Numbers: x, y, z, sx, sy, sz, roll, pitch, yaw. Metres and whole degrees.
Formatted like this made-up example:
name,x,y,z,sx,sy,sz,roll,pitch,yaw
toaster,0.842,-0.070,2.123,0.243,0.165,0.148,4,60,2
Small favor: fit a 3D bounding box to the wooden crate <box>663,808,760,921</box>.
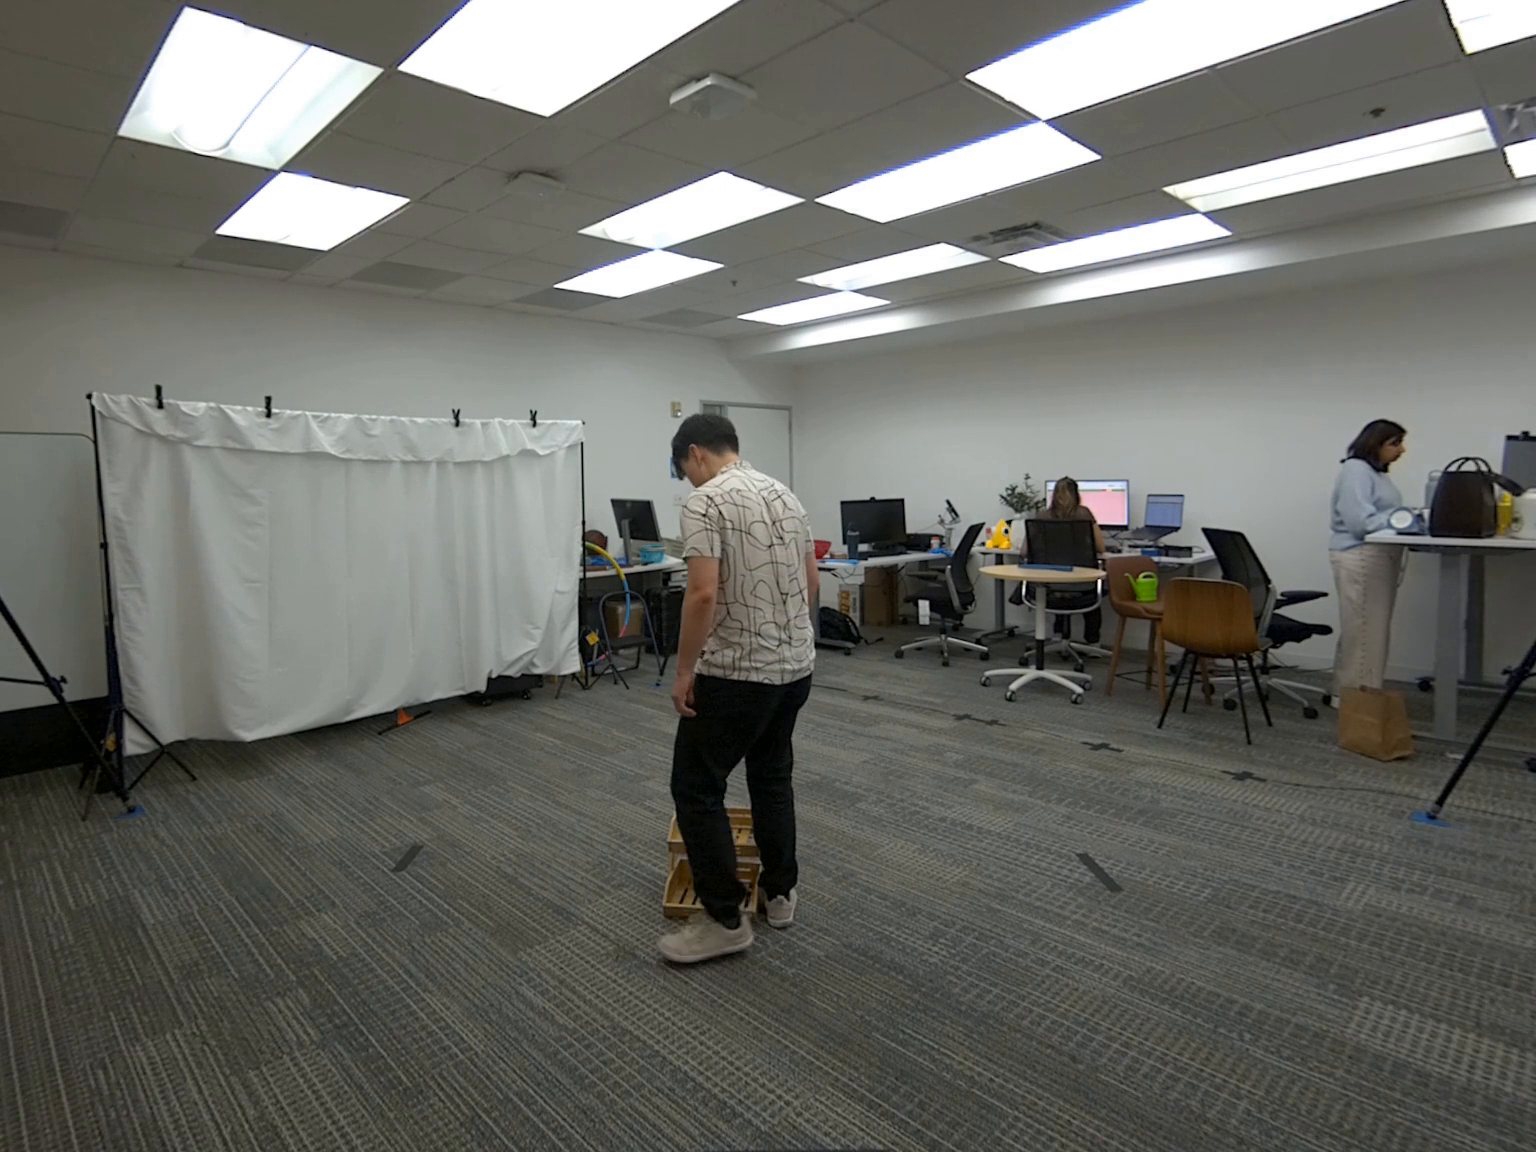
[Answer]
name,x,y,z,sx,sy,sz,roll,pitch,yaw
wooden crate,-0.168,0.952,2.830,0.327,0.272,0.300,0,4,8
